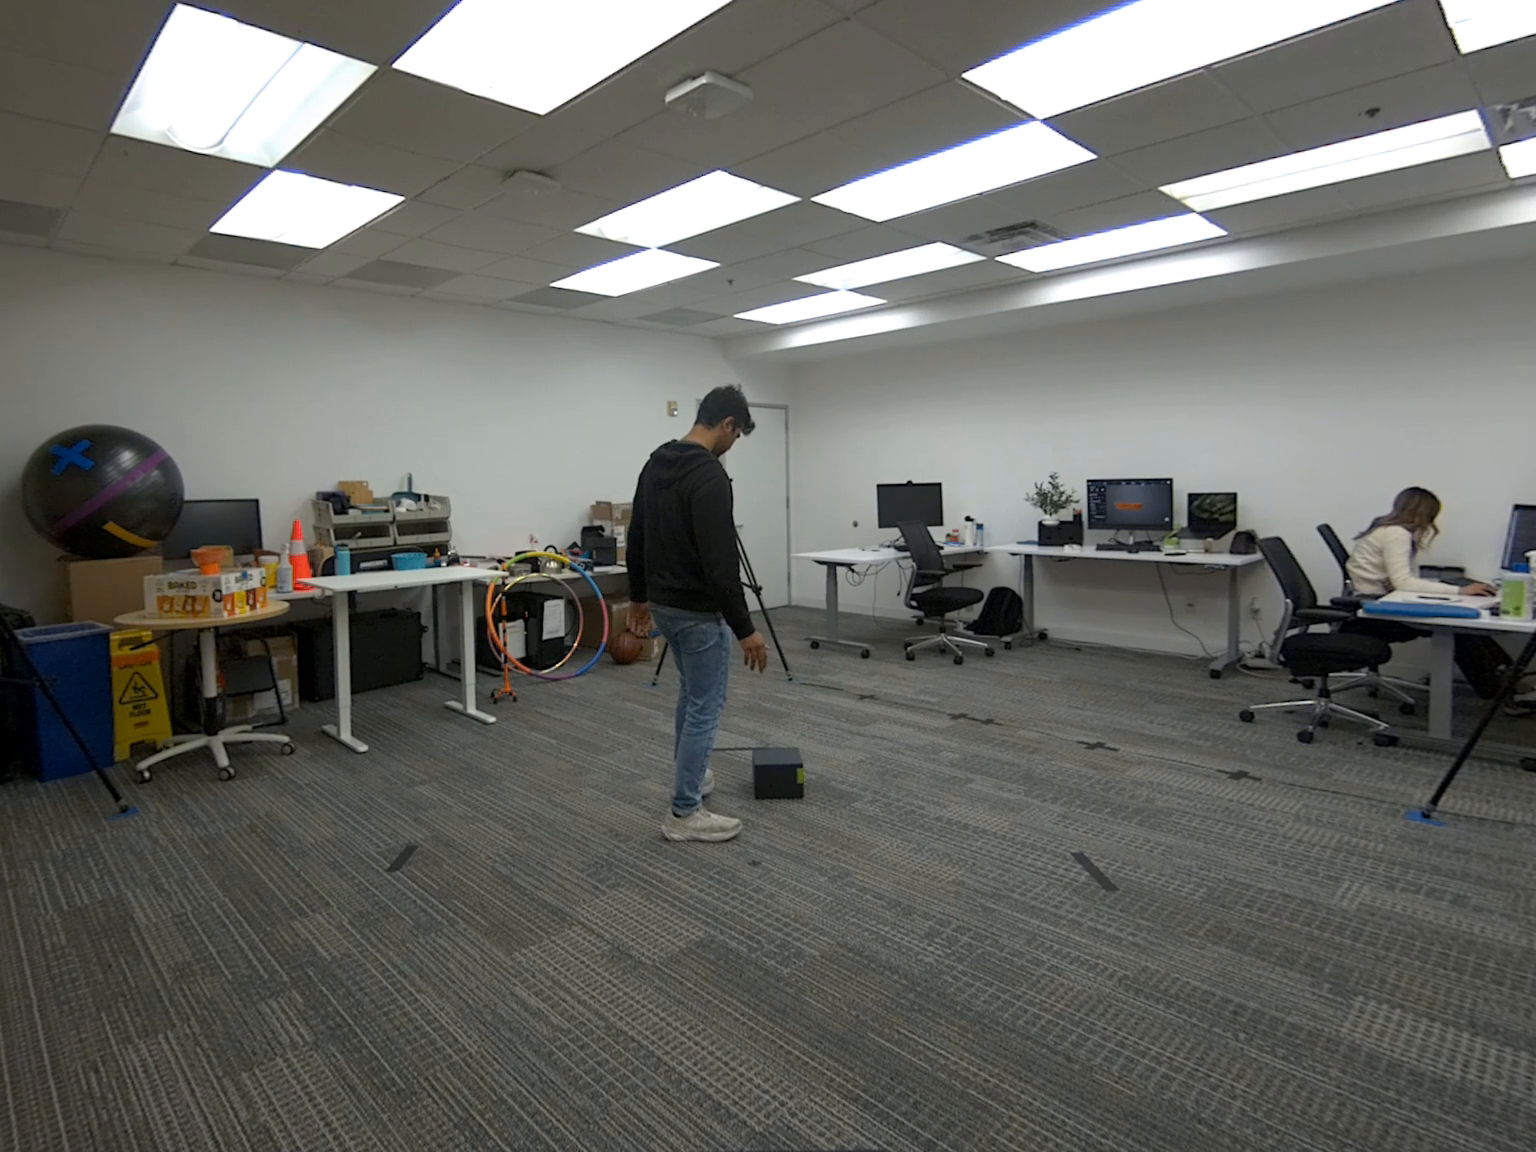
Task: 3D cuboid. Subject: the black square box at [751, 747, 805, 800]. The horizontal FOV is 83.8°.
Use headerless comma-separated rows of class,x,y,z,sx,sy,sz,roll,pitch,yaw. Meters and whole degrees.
black square box,0.028,0.874,3.823,0.217,0.155,0.229,-2,5,-1
